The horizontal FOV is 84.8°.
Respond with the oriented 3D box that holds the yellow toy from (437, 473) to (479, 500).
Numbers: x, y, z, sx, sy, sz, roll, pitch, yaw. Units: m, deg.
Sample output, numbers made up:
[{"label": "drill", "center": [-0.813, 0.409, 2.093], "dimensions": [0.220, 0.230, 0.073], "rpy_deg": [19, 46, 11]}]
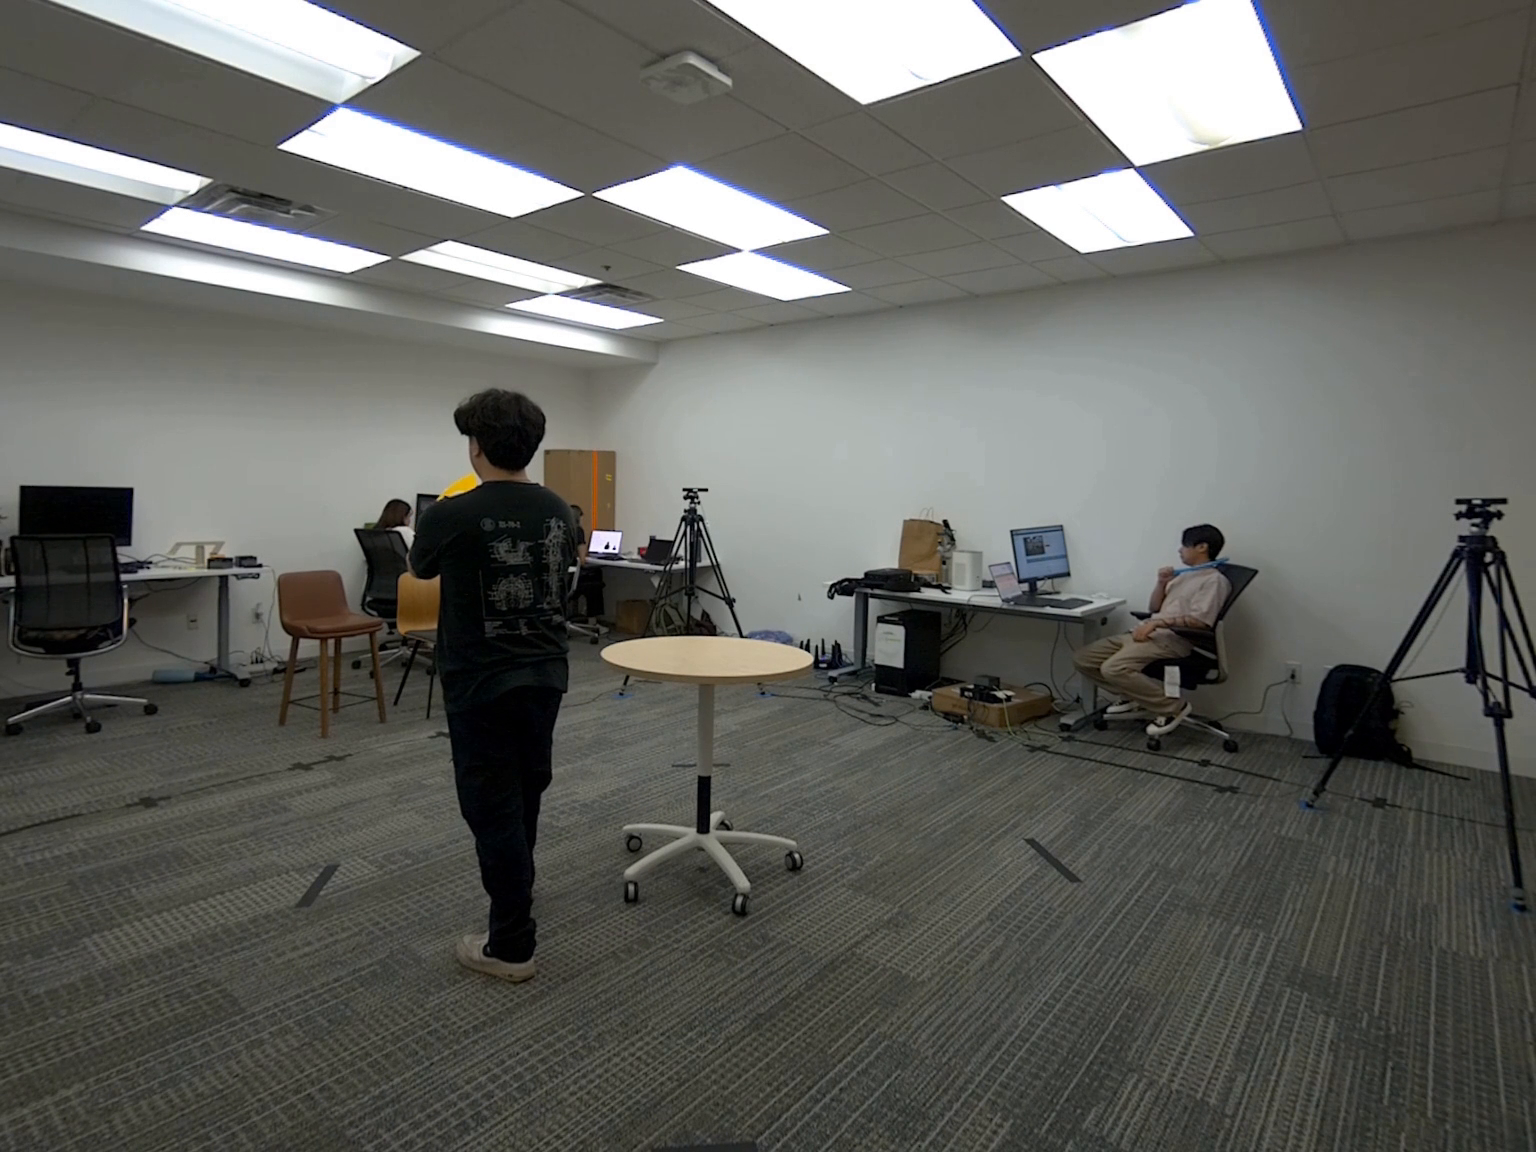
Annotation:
[{"label": "yellow toy", "center": [-1.089, -0.246, 2.919], "dimensions": [0.187, 0.229, 0.212], "rpy_deg": [2, 9, -36]}]
